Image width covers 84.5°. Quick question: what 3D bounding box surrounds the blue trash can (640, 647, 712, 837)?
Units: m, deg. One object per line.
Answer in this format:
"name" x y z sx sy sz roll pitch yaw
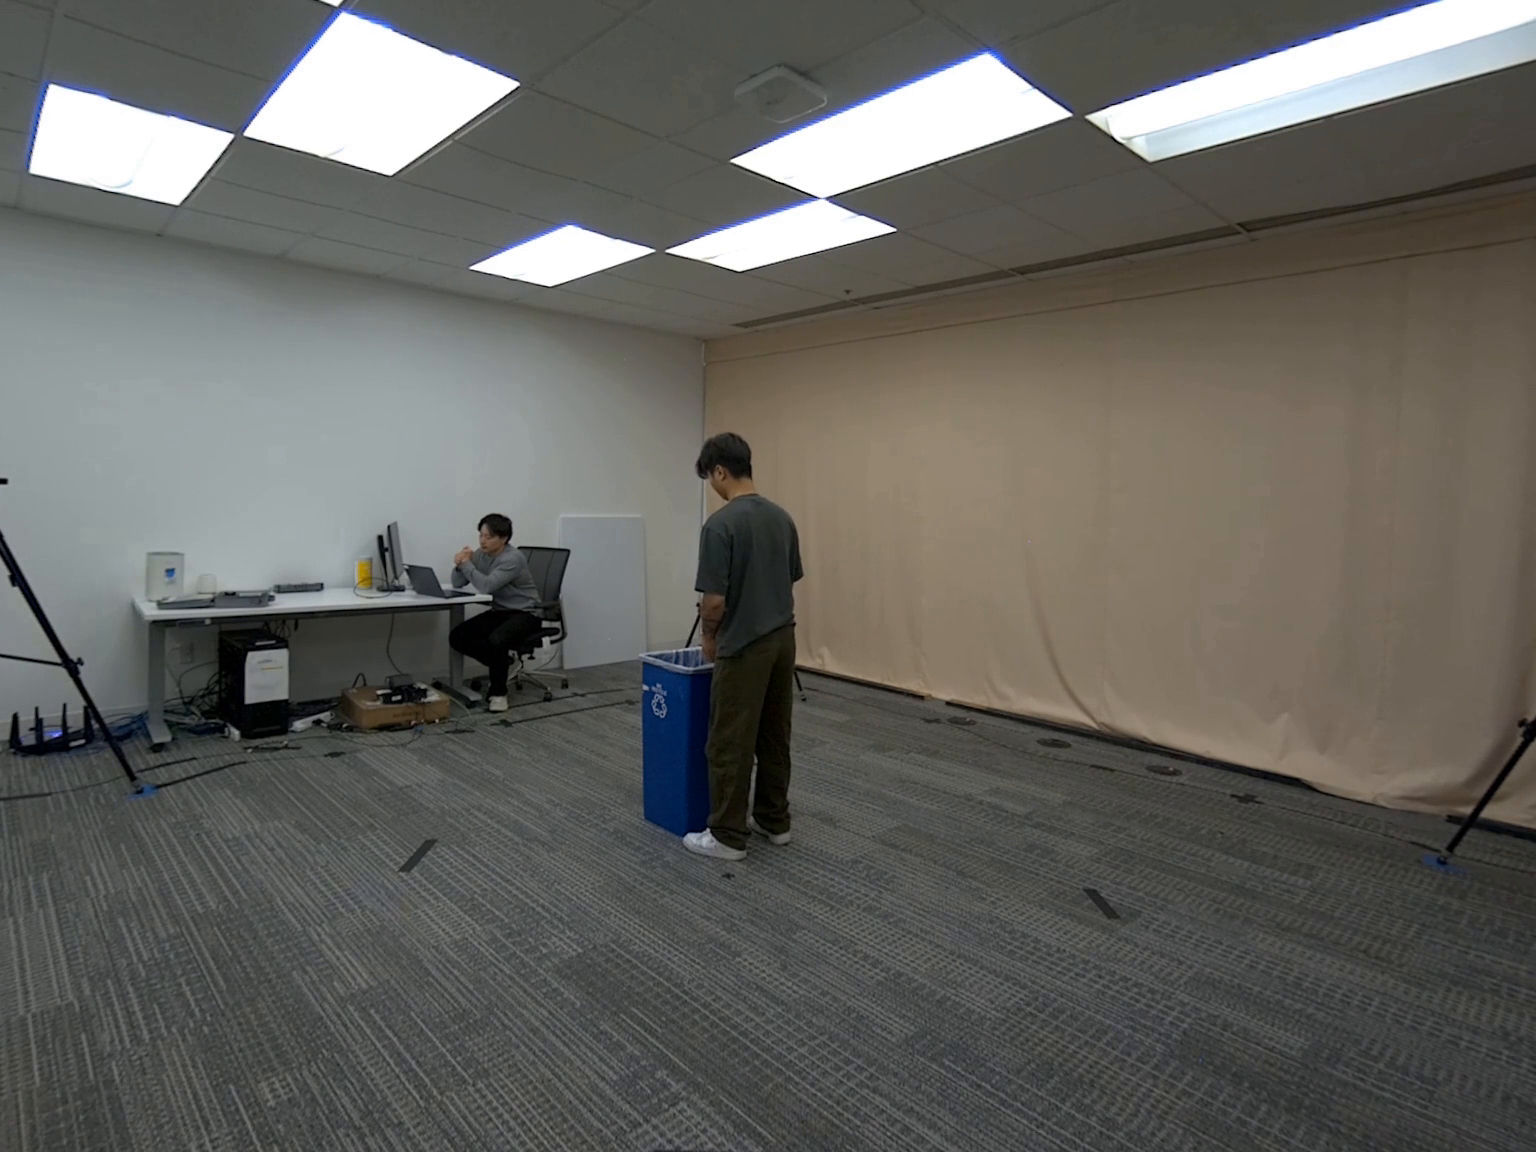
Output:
"blue trash can" -0.324 0.700 3.621 0.369 0.712 0.383 -2 4 -43
